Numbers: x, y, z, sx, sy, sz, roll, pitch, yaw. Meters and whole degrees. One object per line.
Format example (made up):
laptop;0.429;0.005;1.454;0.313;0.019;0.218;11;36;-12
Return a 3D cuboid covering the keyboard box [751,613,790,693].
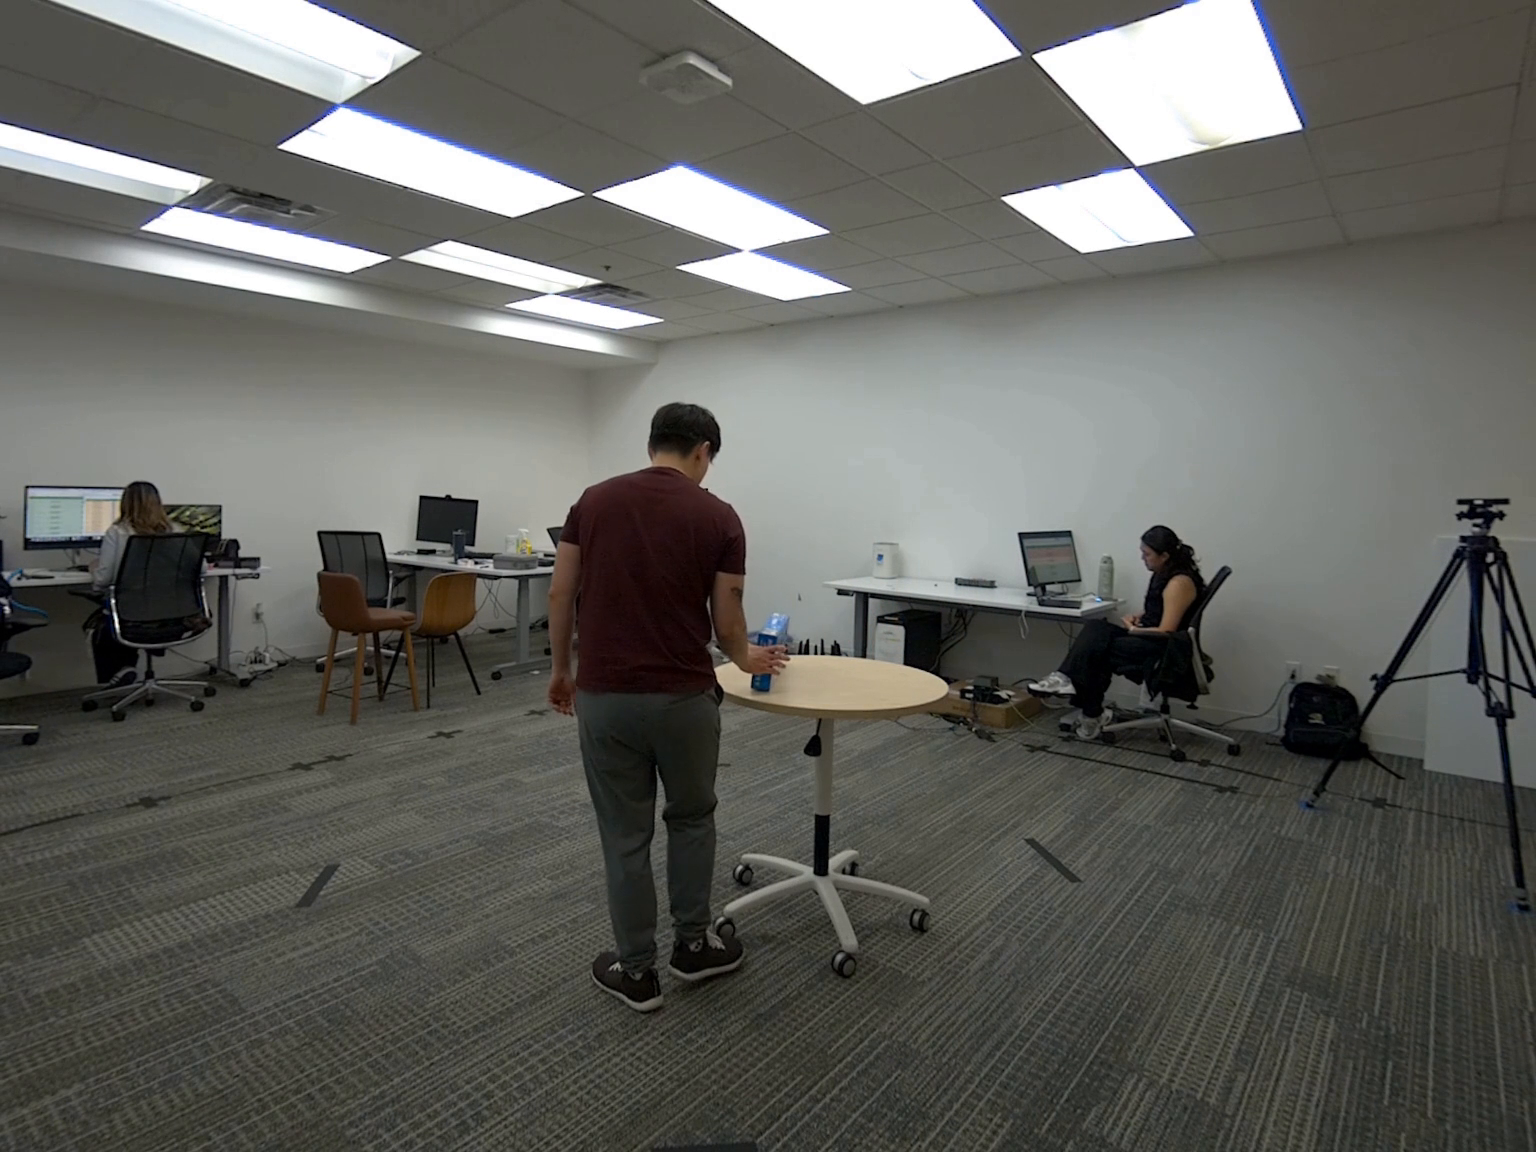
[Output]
keyboard box;0.004;0.233;2.779;0.059;0.175;0.436;8;8;5
